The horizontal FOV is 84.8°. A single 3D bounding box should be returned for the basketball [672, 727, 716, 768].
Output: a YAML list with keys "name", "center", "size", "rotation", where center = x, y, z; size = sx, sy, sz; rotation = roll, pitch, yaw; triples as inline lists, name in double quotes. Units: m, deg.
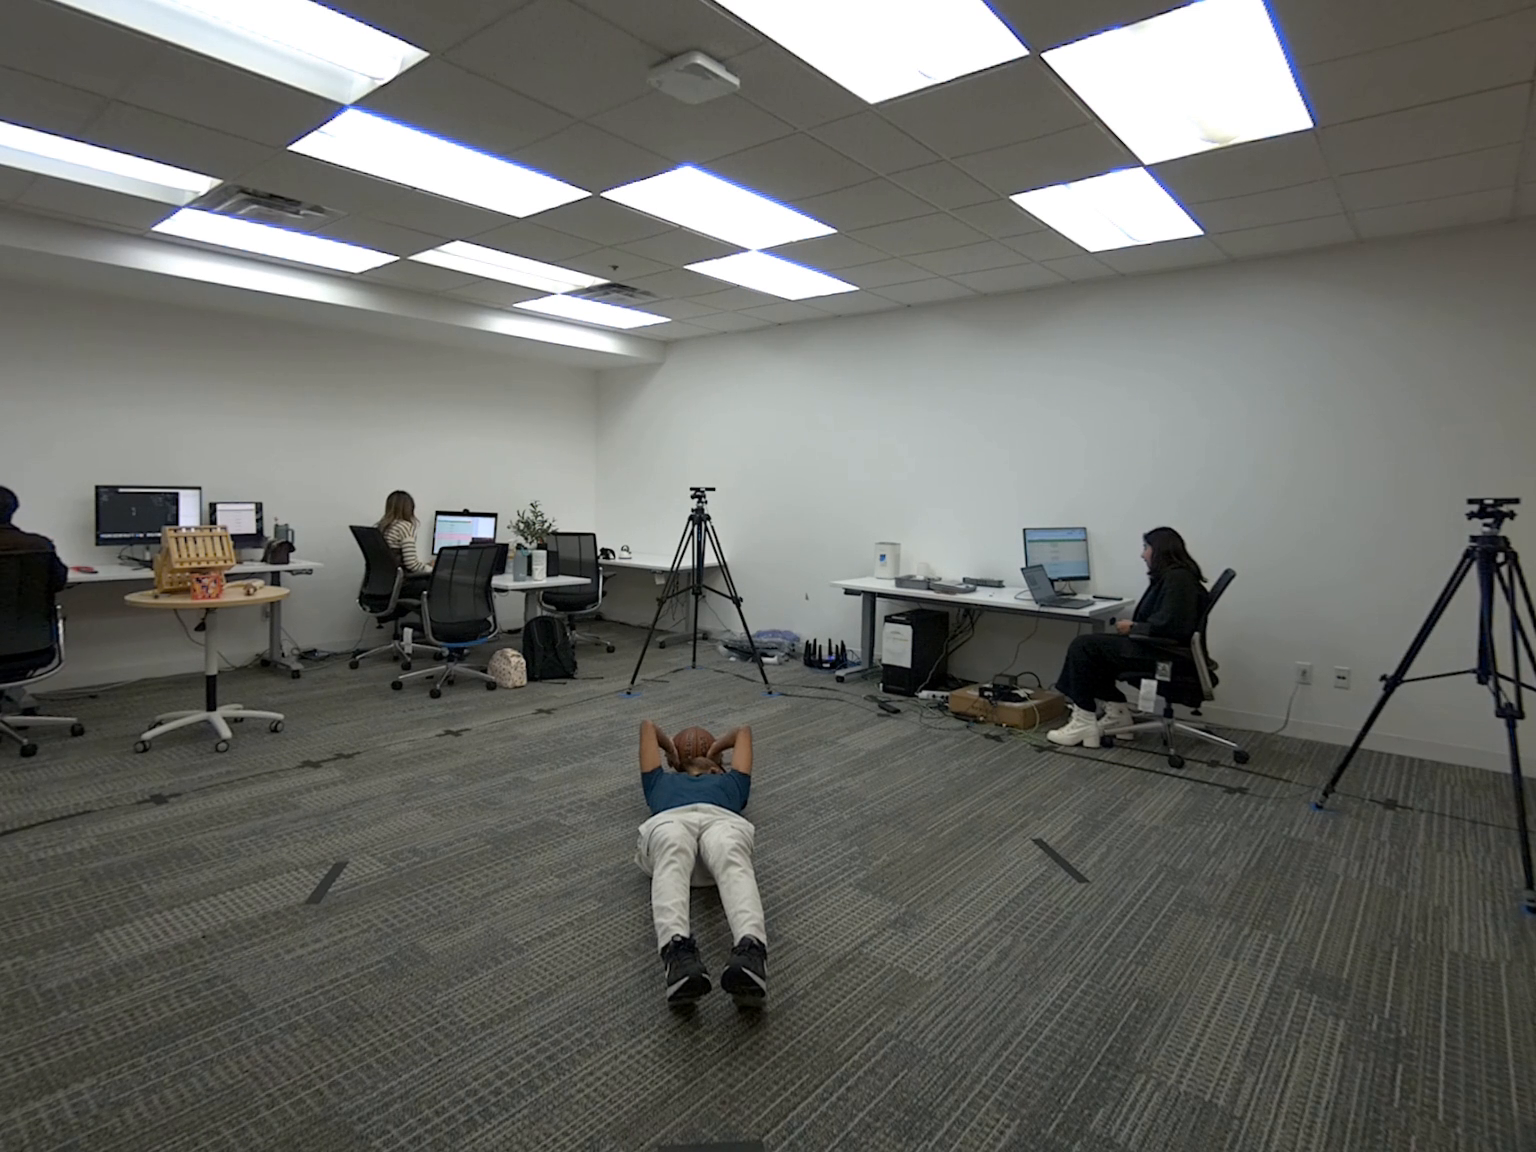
- name: "basketball"
  center: [-0.370, 0.846, 4.107]
  size: [0.235, 0.235, 0.237]
  rotation: [1, 4, -2]
